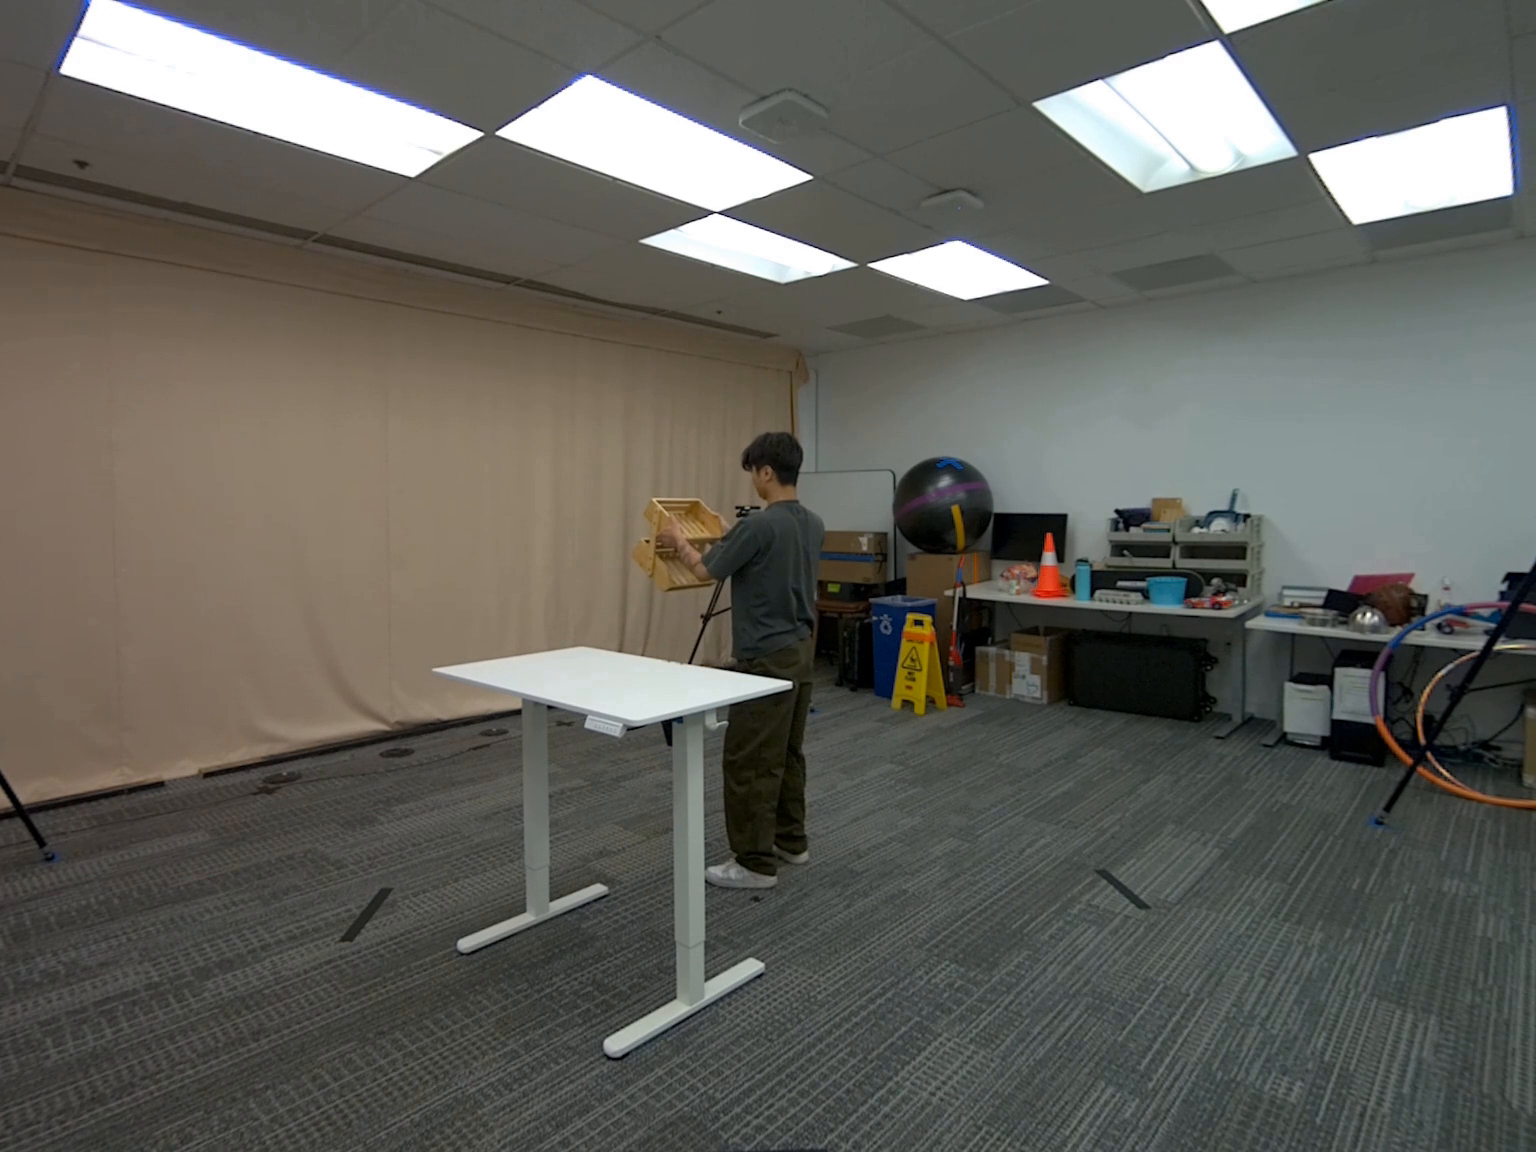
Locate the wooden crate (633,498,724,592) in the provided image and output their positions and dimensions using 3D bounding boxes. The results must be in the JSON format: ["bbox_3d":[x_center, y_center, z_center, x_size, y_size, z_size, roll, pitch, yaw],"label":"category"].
[{"bbox_3d":[-0.347,-0.128,3.515,0.311,0.273,0.315,45,27,26],"label":"wooden crate"}]
